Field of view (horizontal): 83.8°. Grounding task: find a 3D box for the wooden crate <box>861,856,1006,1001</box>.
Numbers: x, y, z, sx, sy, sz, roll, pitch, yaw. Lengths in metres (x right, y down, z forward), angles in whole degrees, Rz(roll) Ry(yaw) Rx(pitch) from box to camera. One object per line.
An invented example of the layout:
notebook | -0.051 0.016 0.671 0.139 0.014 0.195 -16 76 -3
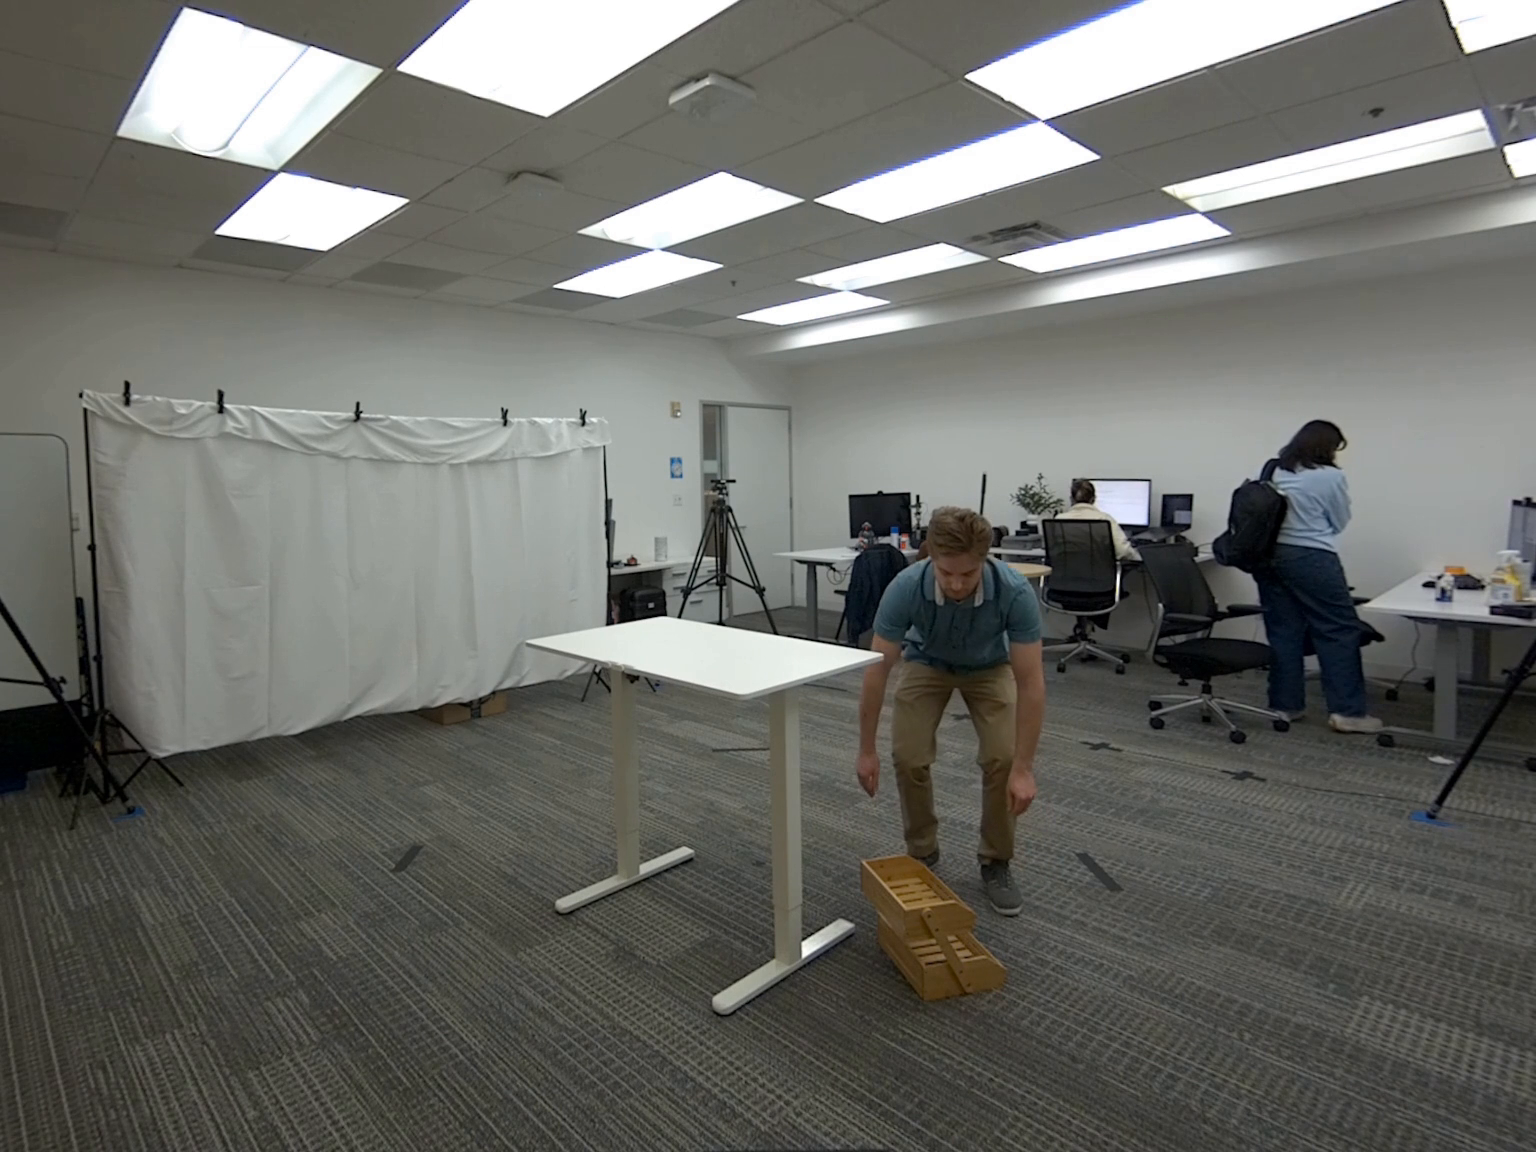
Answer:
wooden crate | 0.473 0.981 2.436 0.298 0.272 0.331 -4 6 -16
